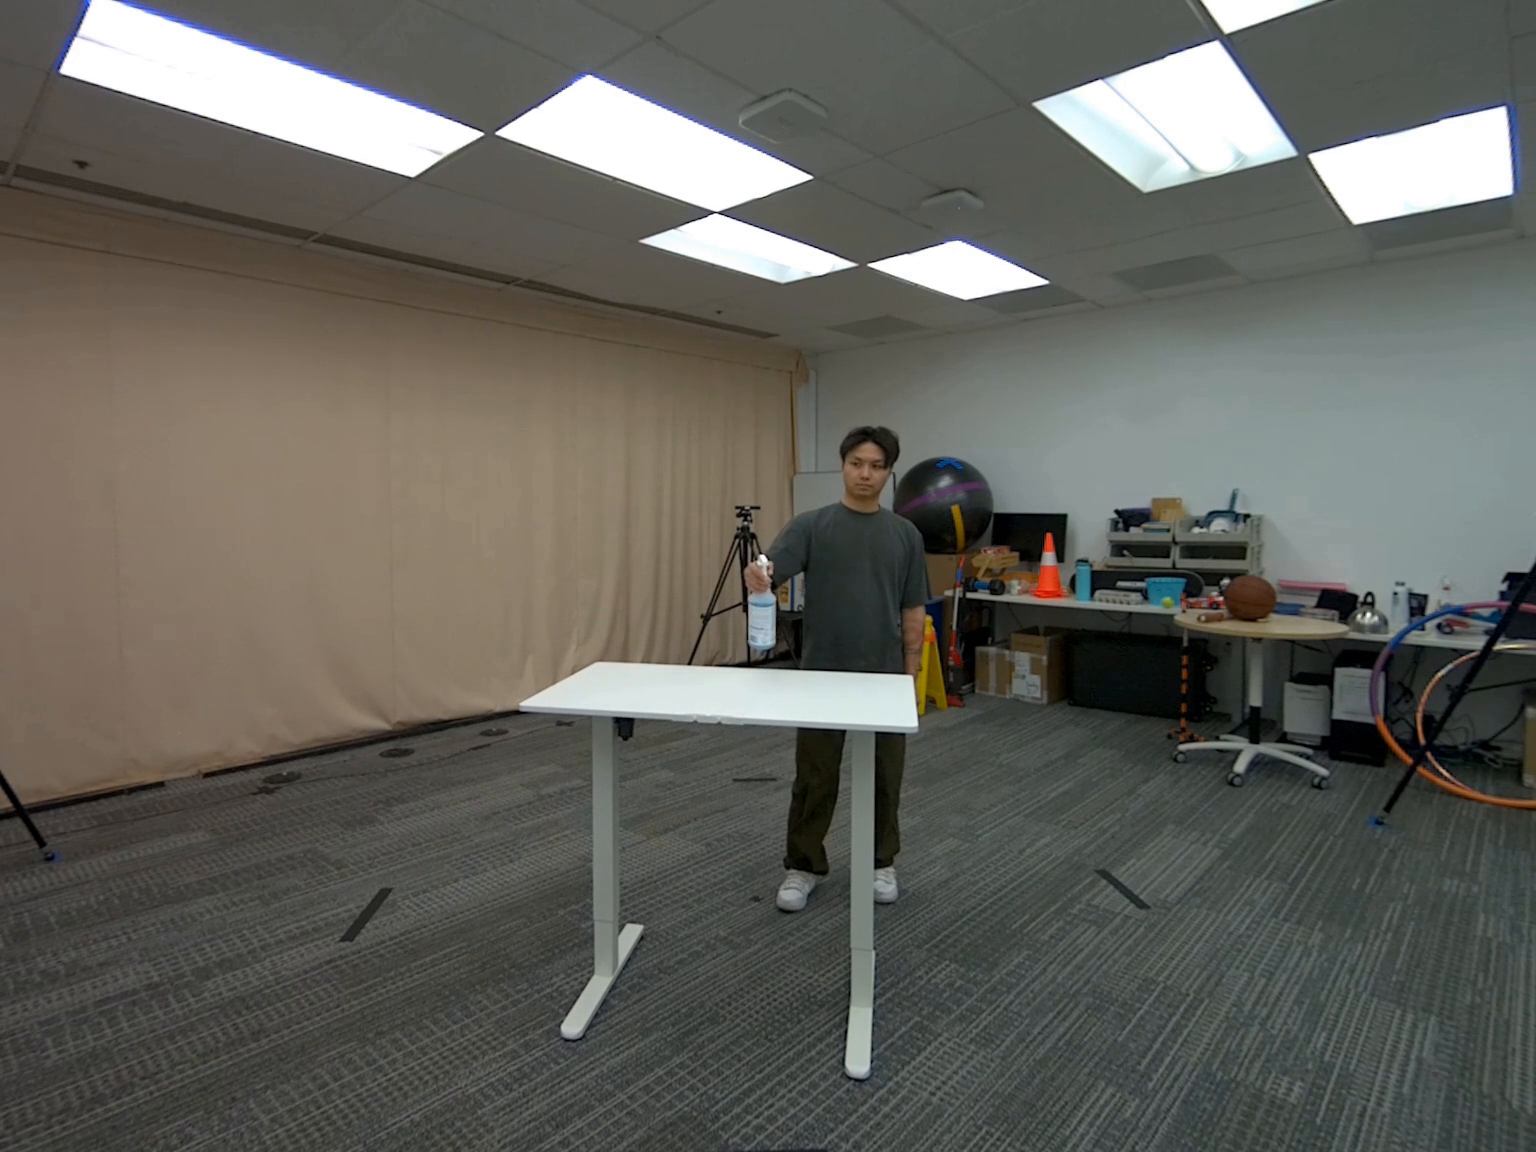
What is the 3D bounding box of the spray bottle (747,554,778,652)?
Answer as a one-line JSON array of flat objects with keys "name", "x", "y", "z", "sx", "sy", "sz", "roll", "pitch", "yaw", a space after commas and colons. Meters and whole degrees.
[{"name": "spray bottle", "x": -0.014, "y": 0.081, "z": 2.593, "sx": 0.089, "sy": 0.294, "sz": 0.089, "roll": 6, "pitch": 19, "yaw": 17}]
